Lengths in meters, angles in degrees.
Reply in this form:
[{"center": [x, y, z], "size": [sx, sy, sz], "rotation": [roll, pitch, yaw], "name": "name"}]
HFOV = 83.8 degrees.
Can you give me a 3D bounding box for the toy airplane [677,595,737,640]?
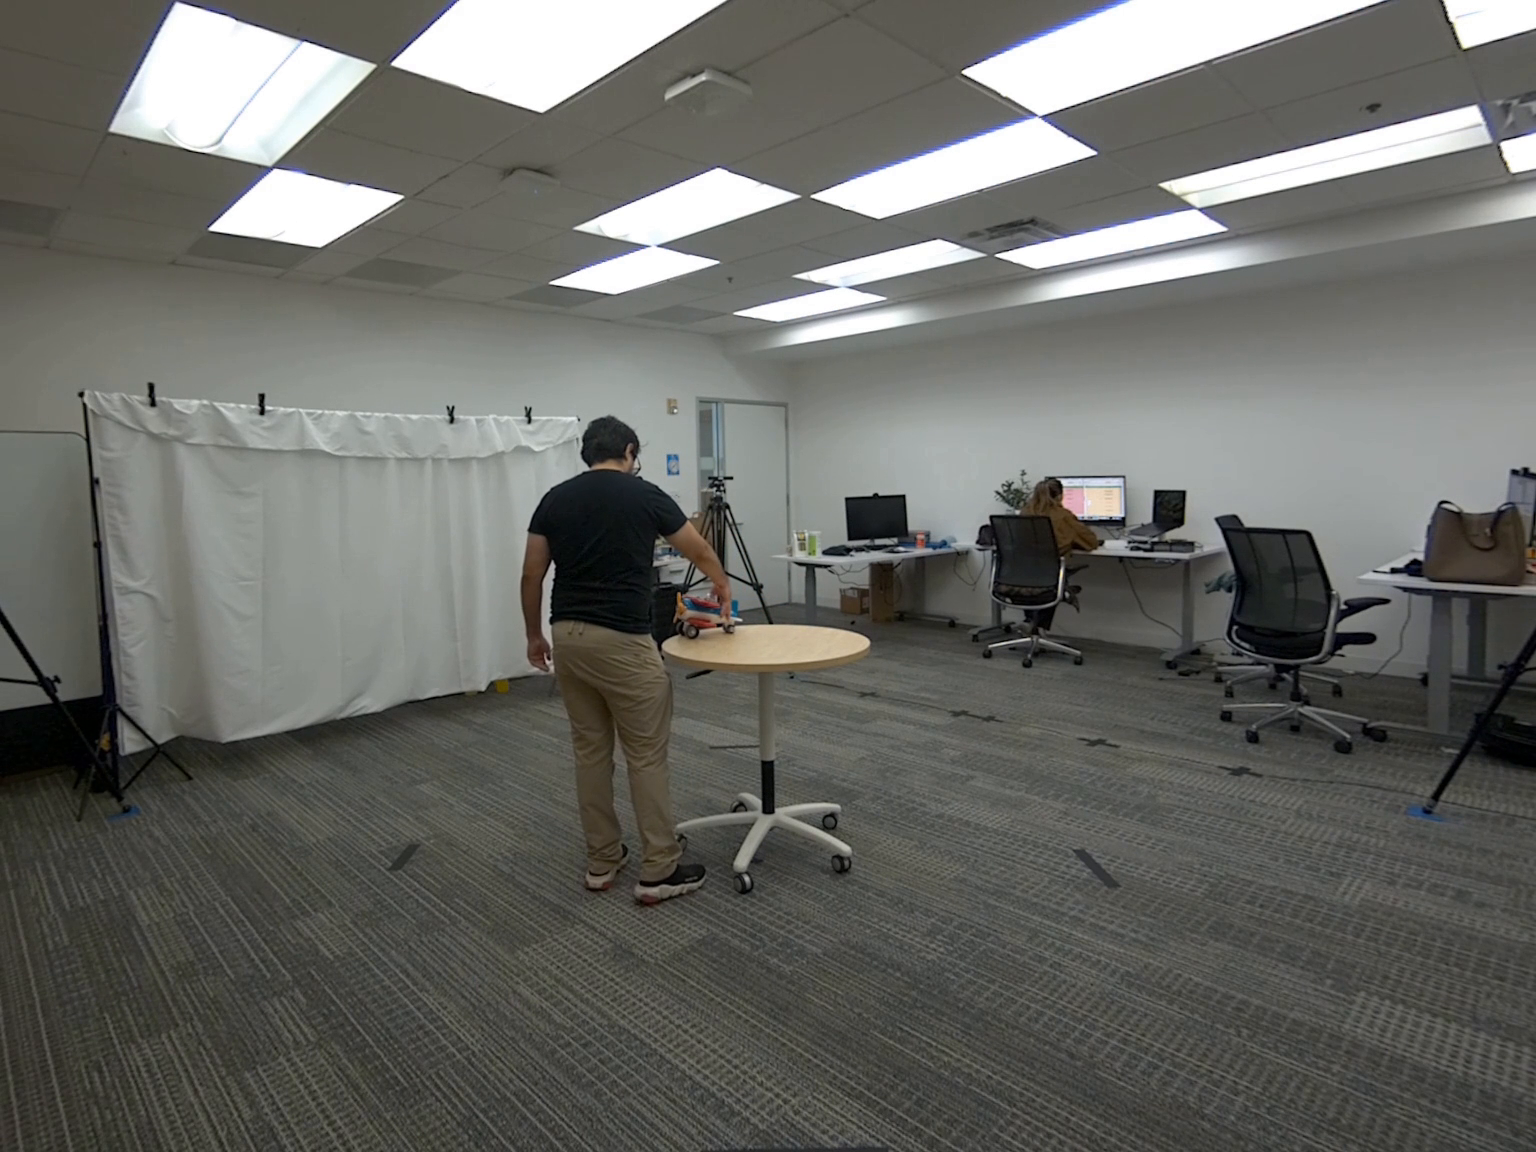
[{"center": [-0.245, 0.153, 3.348], "size": [0.258, 0.155, 0.253], "rotation": [3, 8, 38], "name": "toy airplane"}]
